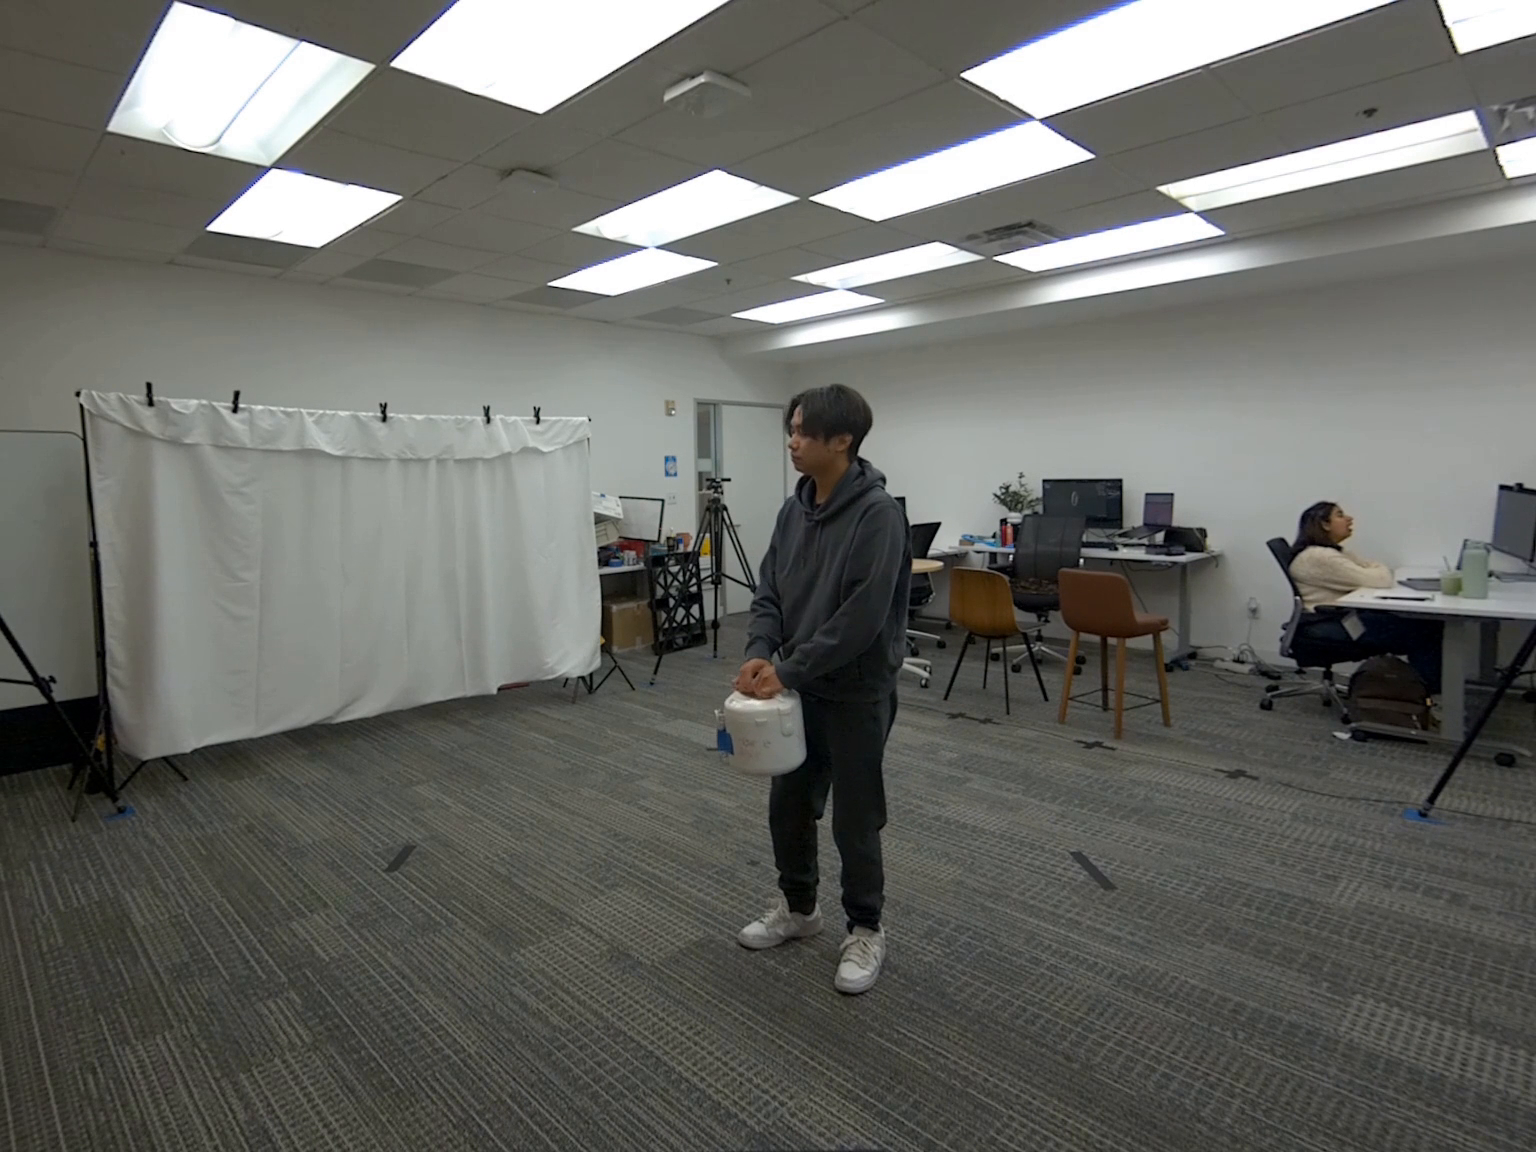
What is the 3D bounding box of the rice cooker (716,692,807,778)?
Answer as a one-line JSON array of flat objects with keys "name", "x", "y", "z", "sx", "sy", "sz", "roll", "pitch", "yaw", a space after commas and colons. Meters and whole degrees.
[{"name": "rice cooker", "x": -0.003, "y": 0.400, "z": 2.300, "sx": 0.213, "sy": 0.231, "sz": 0.227, "roll": -11, "pitch": 9, "yaw": -34}]
